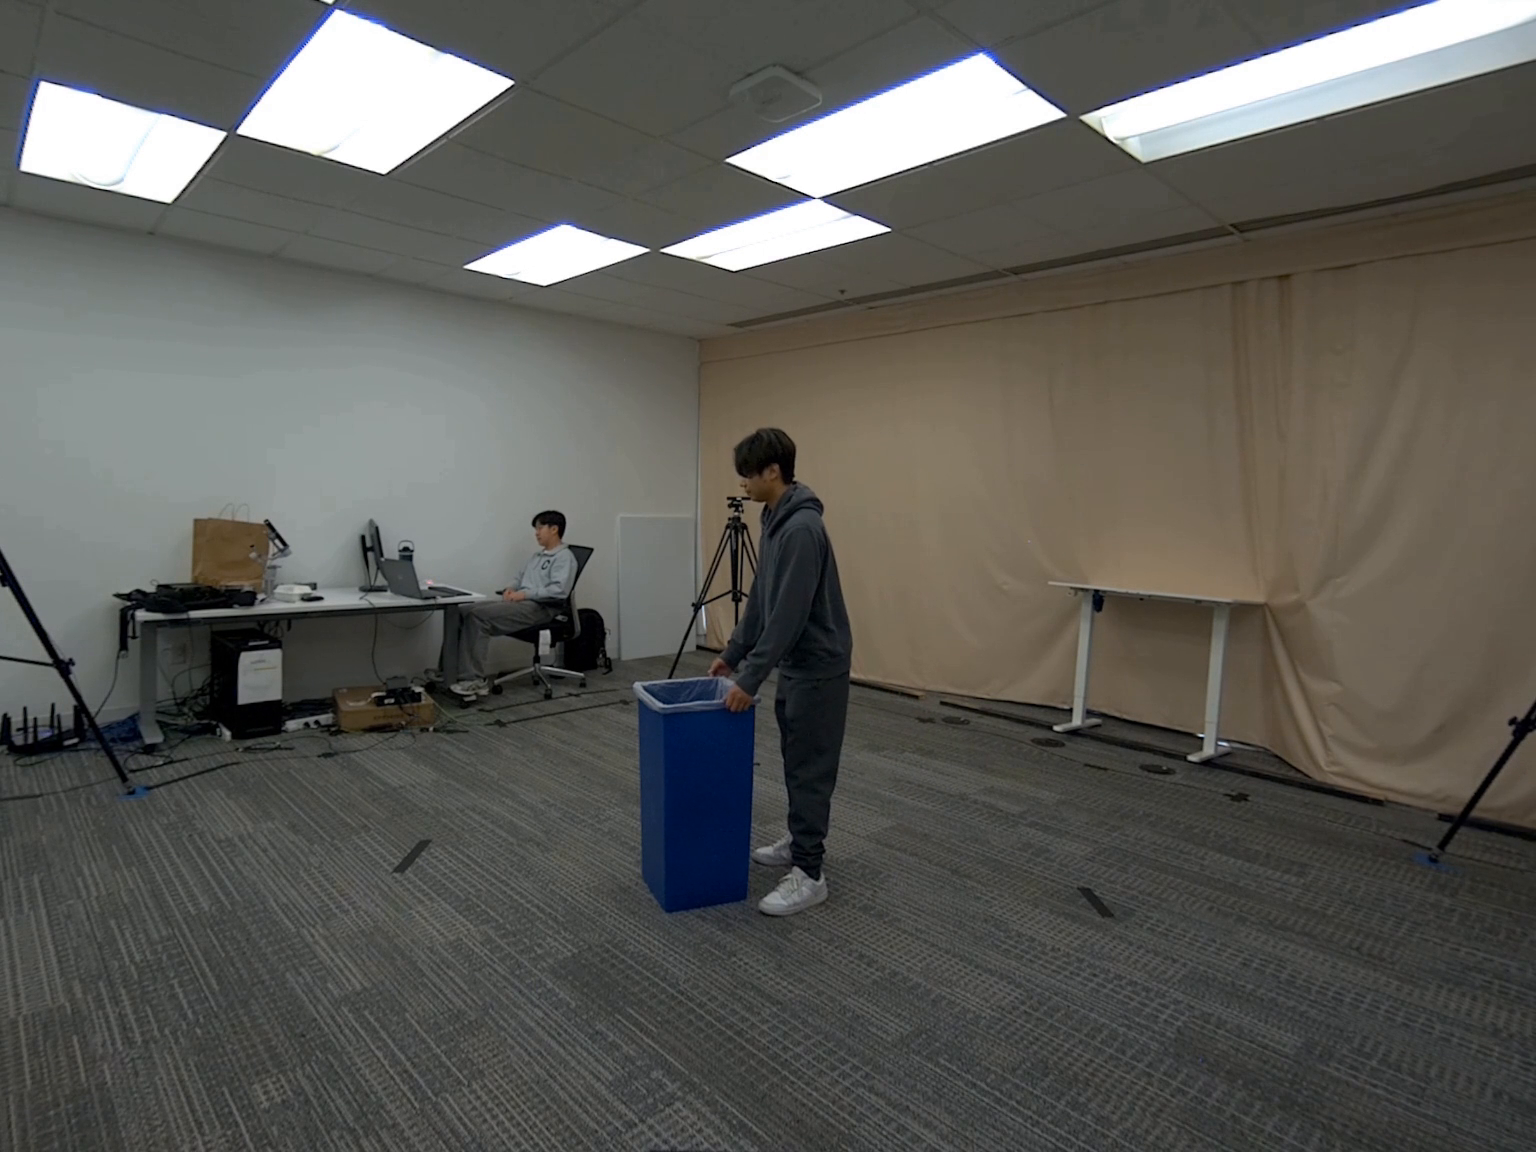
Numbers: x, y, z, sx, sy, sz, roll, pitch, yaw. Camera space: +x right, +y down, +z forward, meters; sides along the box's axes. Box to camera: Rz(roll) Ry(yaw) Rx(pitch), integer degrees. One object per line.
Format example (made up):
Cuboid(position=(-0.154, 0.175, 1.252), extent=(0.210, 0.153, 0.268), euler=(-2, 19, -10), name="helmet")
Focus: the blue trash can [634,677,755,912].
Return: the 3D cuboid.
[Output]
Cuboid(position=(-0.271, 0.757, 2.981), extent=(0.368, 0.712, 0.385), euler=(0, 3, -24), name="blue trash can")
